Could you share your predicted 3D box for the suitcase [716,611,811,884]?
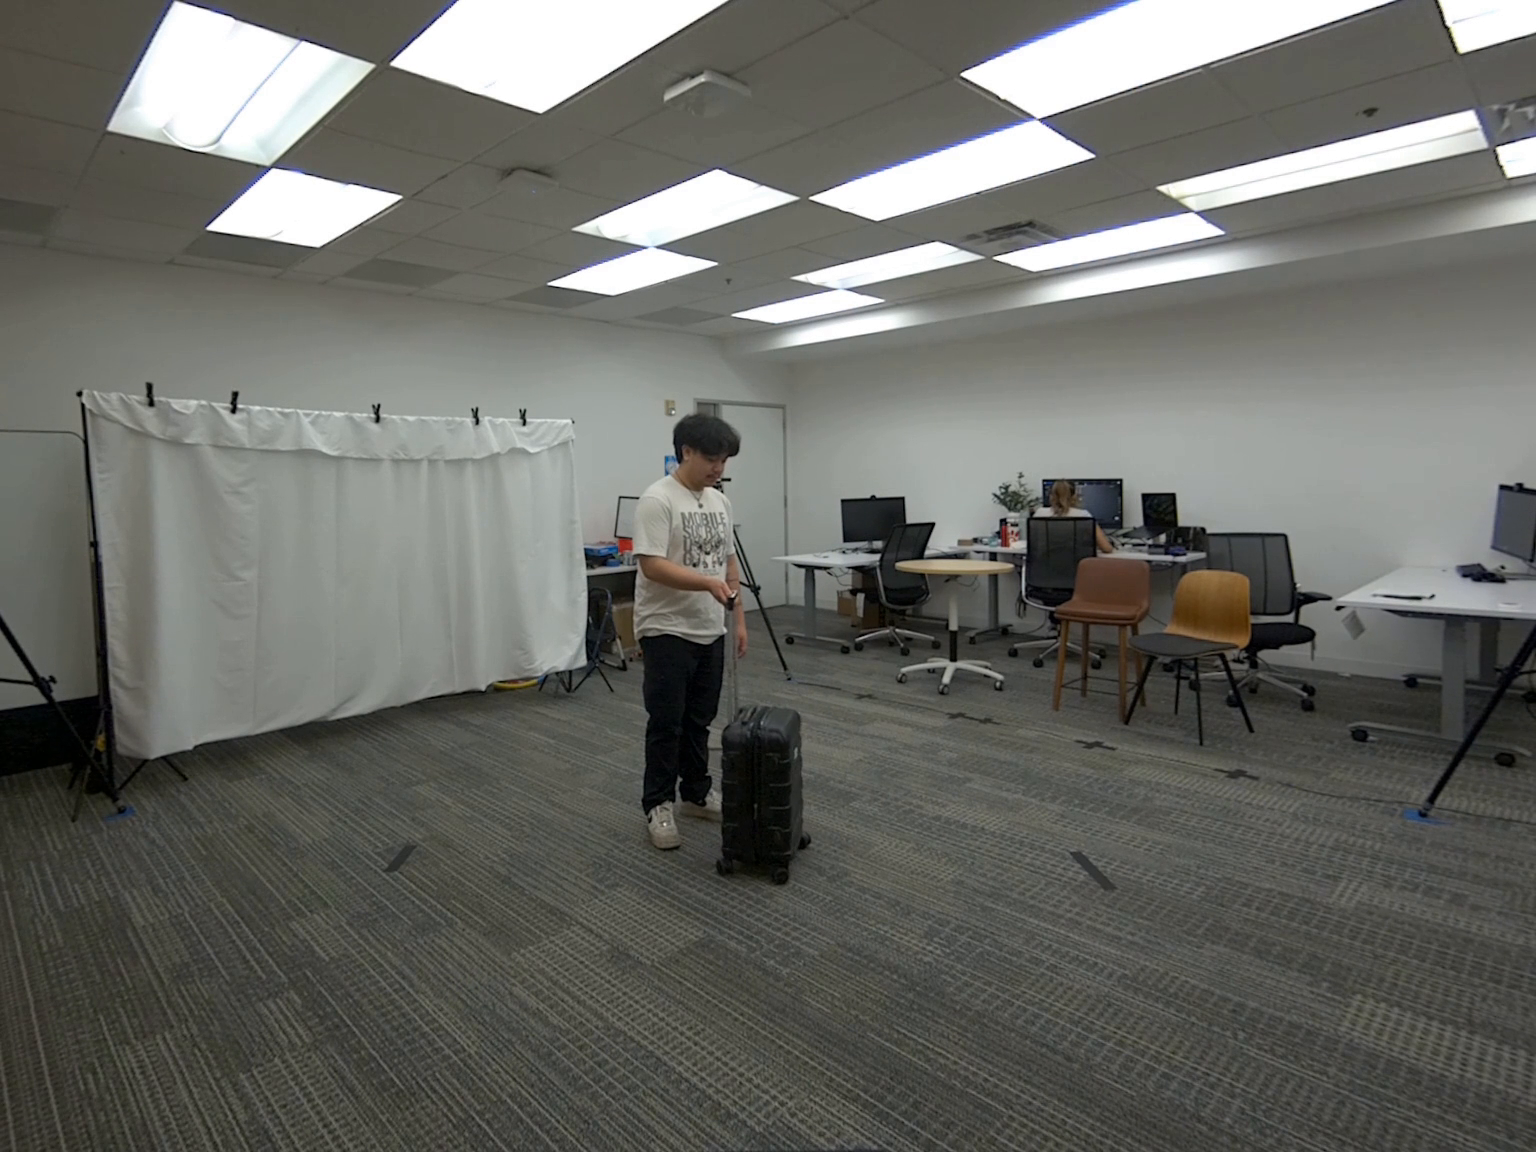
[{"bbox_3d":[-0.011,0.571,3.094,0.260,0.975,0.380,1,4,12],"label":"suitcase"}]
